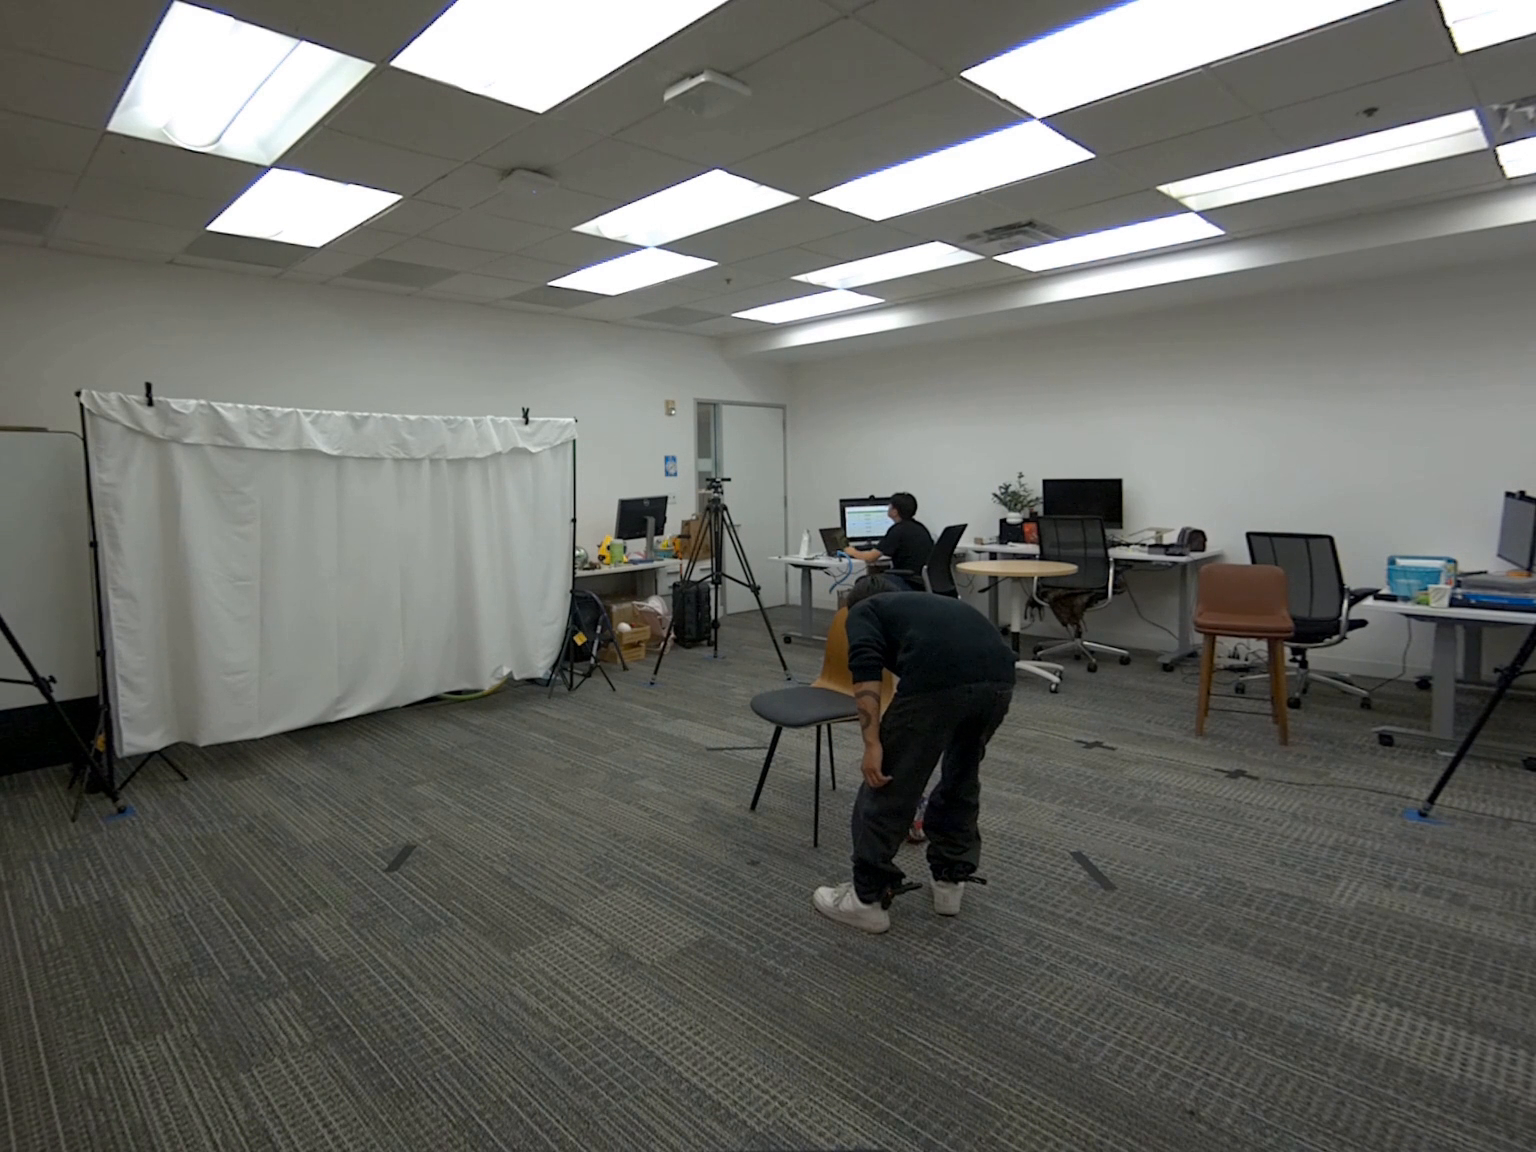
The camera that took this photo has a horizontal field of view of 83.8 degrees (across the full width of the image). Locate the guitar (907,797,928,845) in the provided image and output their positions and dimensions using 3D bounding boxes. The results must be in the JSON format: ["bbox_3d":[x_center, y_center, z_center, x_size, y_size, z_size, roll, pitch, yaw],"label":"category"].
[{"bbox_3d":[0.558,0.760,3.329,0.188,0.504,0.071,-2,-14,-33],"label":"guitar"}]
